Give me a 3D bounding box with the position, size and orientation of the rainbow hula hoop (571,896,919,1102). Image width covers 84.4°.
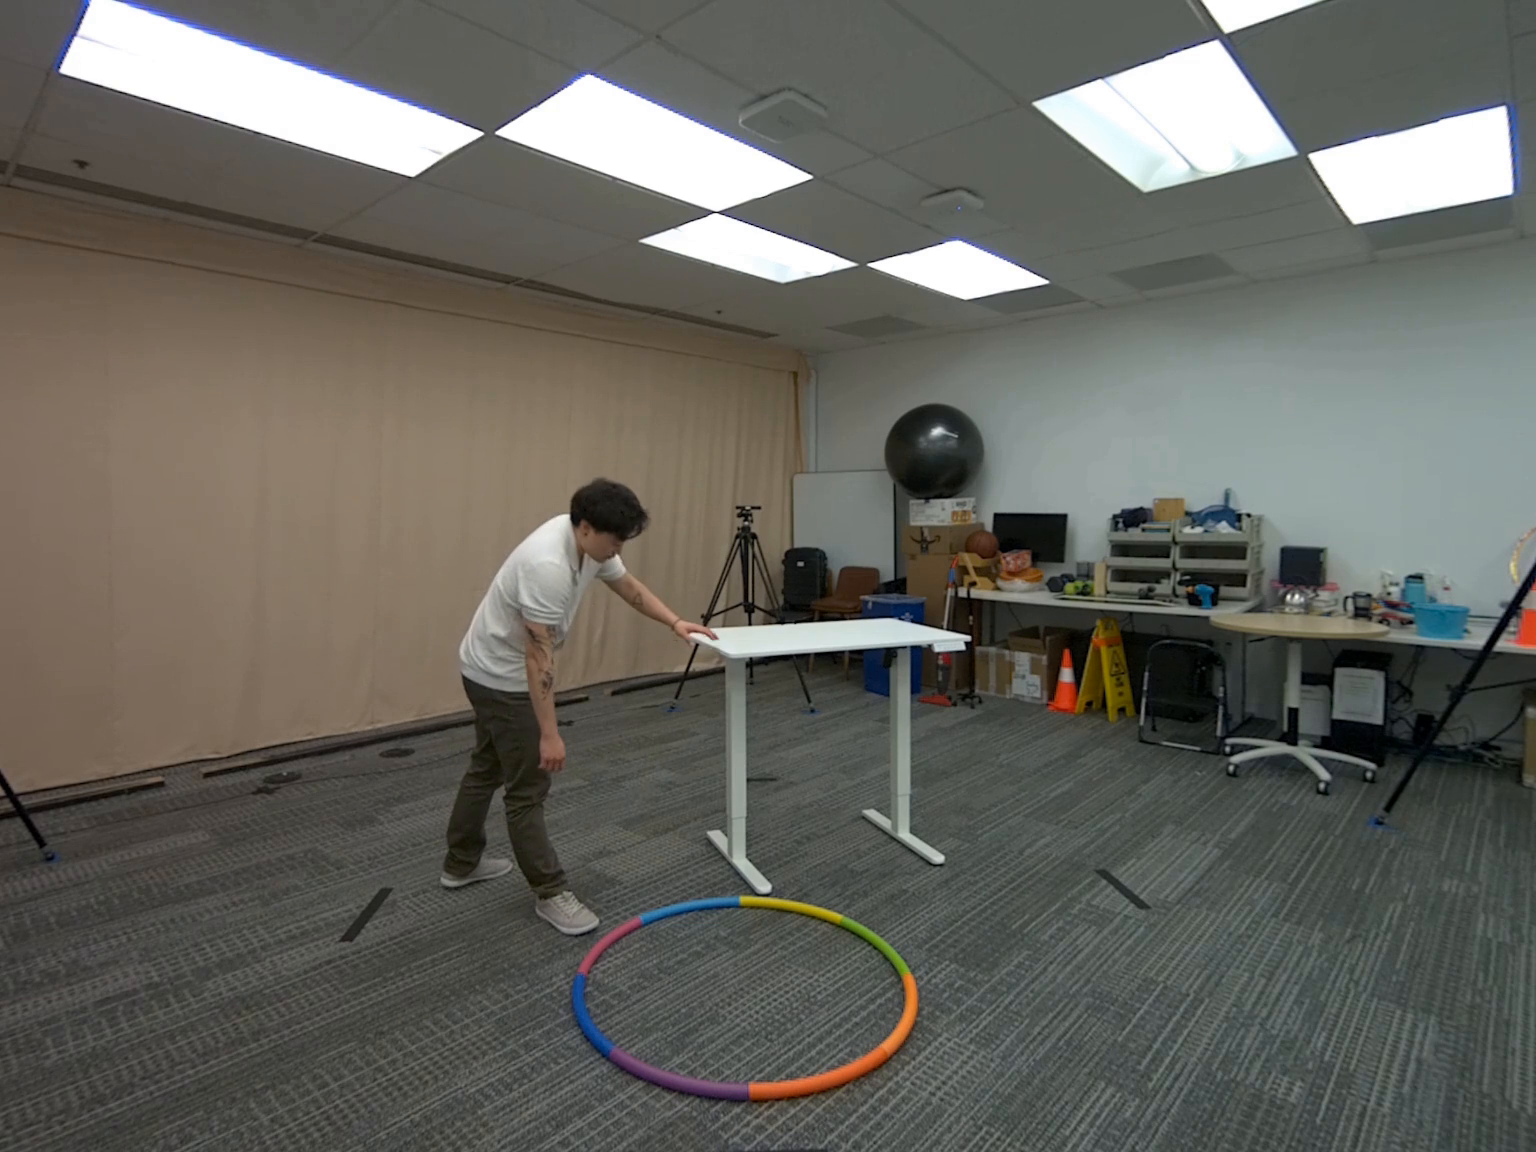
[{"bbox_3d":[-0.065,1.157,2.457,0.978,0.035,0.982,0,5,-2],"label":"rainbow hula hoop"}]
